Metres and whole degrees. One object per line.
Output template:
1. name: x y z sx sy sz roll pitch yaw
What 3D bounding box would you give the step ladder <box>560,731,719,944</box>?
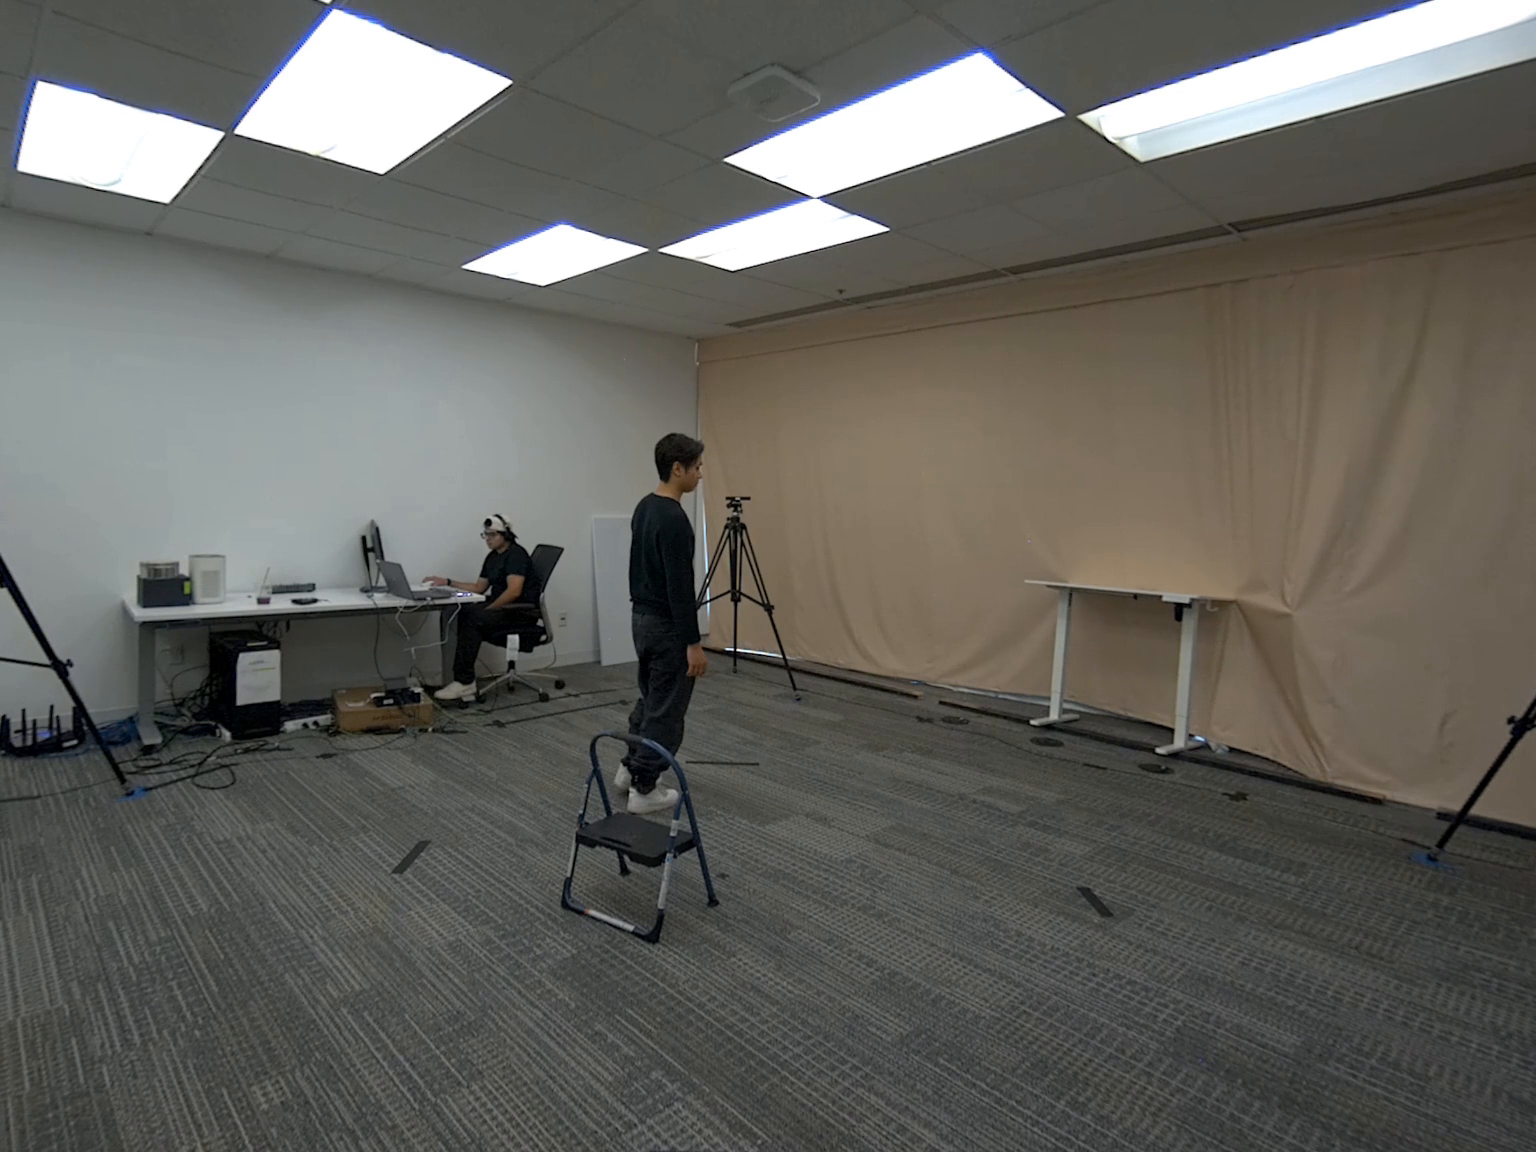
1. step ladder: -0.436 0.822 2.851 0.440 0.604 0.342 4 4 33
